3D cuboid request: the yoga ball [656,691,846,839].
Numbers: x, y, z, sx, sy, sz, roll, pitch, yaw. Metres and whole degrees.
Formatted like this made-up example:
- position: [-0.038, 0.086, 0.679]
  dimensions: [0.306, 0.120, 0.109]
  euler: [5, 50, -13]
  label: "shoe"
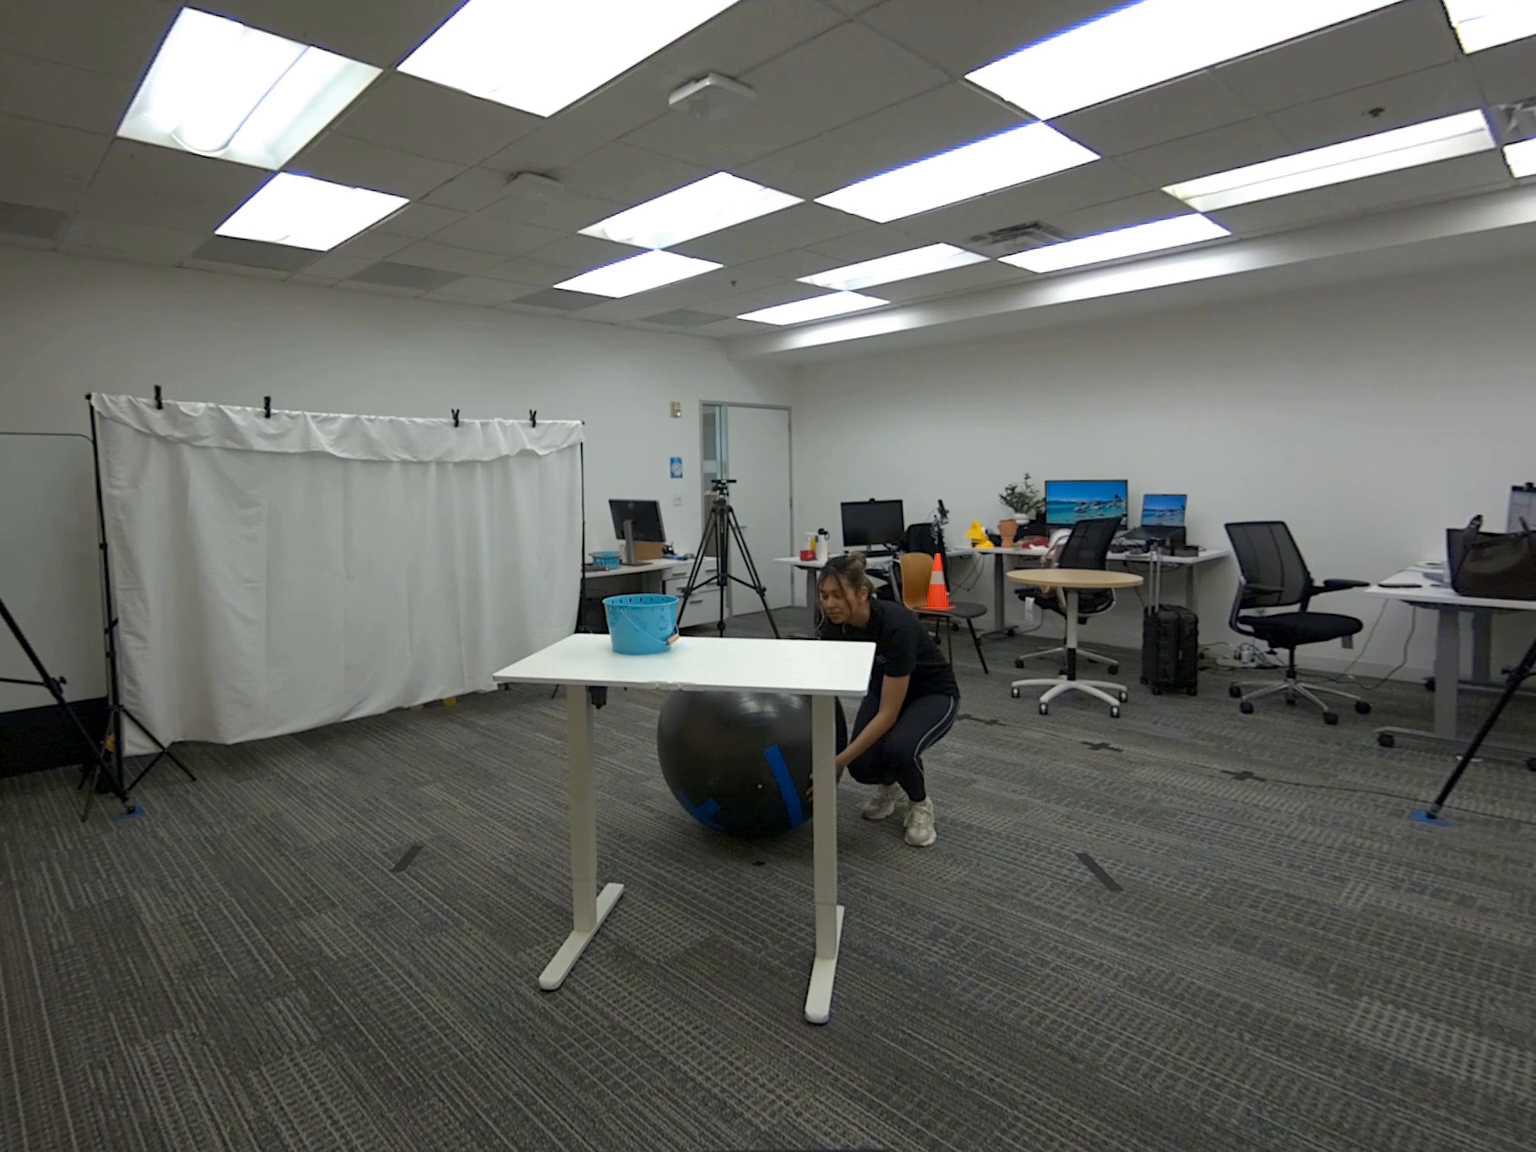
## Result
- position: [-0.061, 0.656, 3.415]
  dimensions: [0.757, 0.755, 0.762]
  euler: [-1, 5, -2]
  label: "yoga ball"
